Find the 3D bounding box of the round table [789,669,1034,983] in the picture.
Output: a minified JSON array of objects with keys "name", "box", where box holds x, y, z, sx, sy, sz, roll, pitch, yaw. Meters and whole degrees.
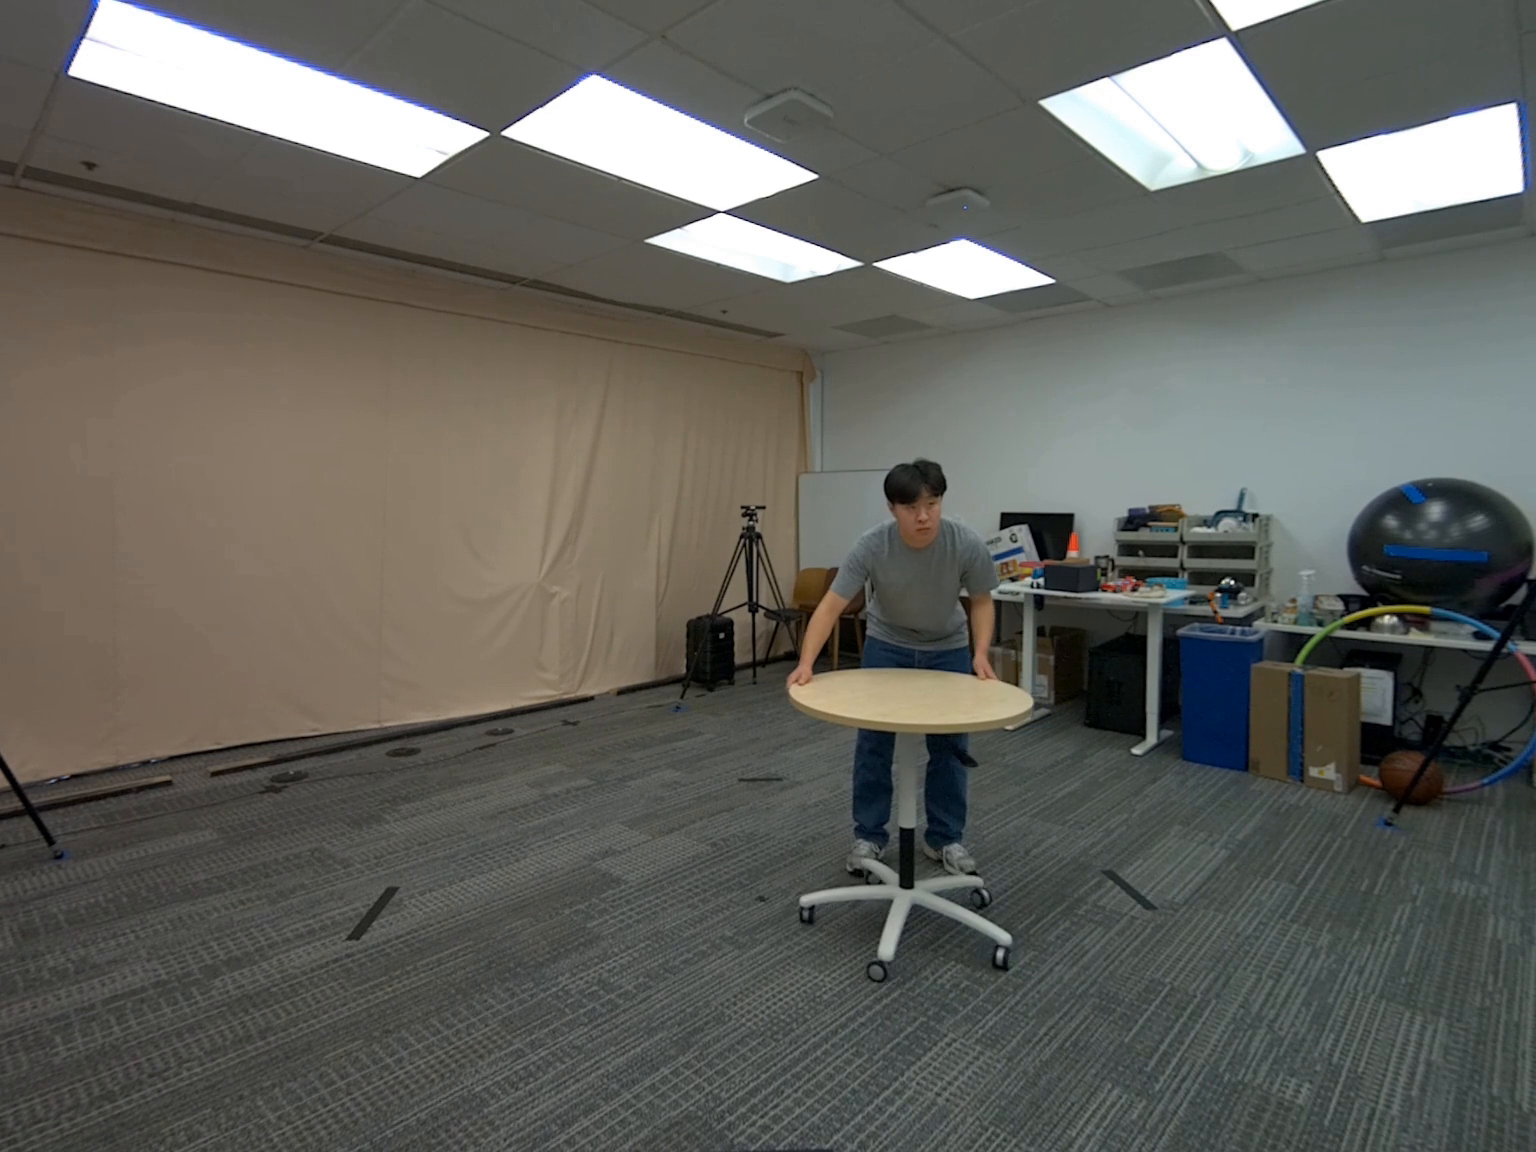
[{"name":"round table","box":[0.456,0.772,2.745,0.763,0.792,0.767,0,4,-2]}]
